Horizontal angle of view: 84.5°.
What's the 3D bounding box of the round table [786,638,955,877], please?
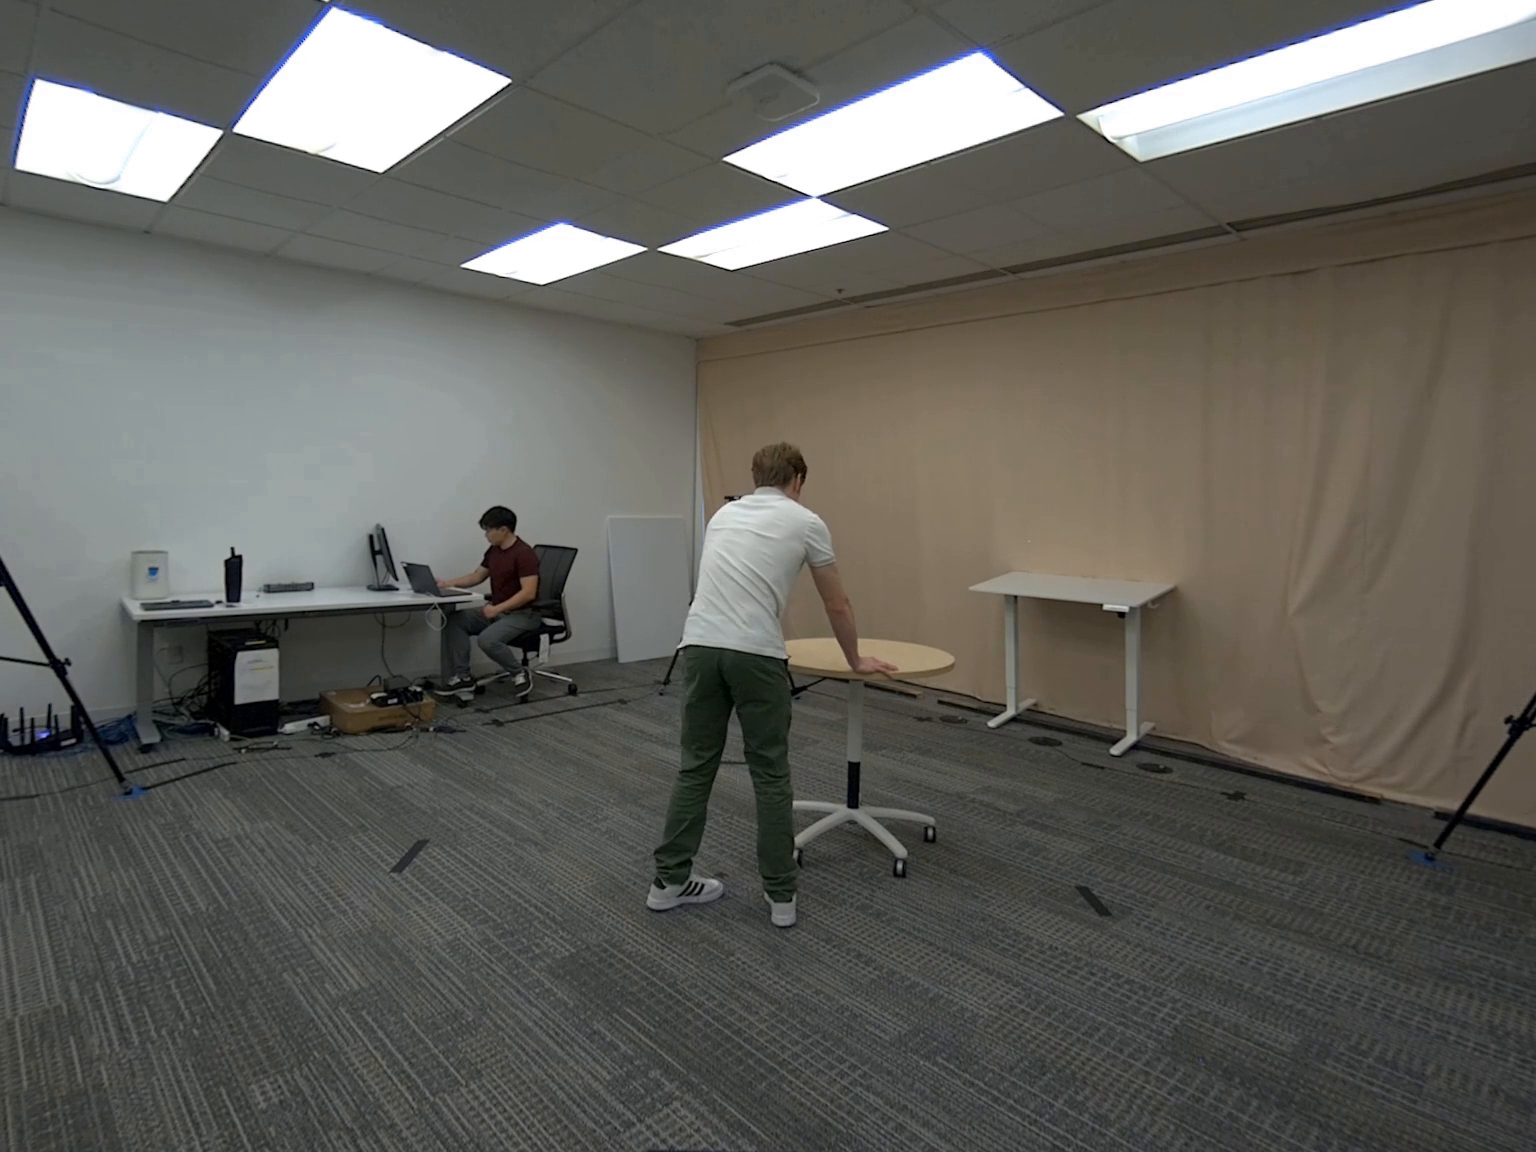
[{"bbox_3d":[0.347,0.703,3.430,0.763,0.792,0.766,2,4,-1],"label":"round table"}]
